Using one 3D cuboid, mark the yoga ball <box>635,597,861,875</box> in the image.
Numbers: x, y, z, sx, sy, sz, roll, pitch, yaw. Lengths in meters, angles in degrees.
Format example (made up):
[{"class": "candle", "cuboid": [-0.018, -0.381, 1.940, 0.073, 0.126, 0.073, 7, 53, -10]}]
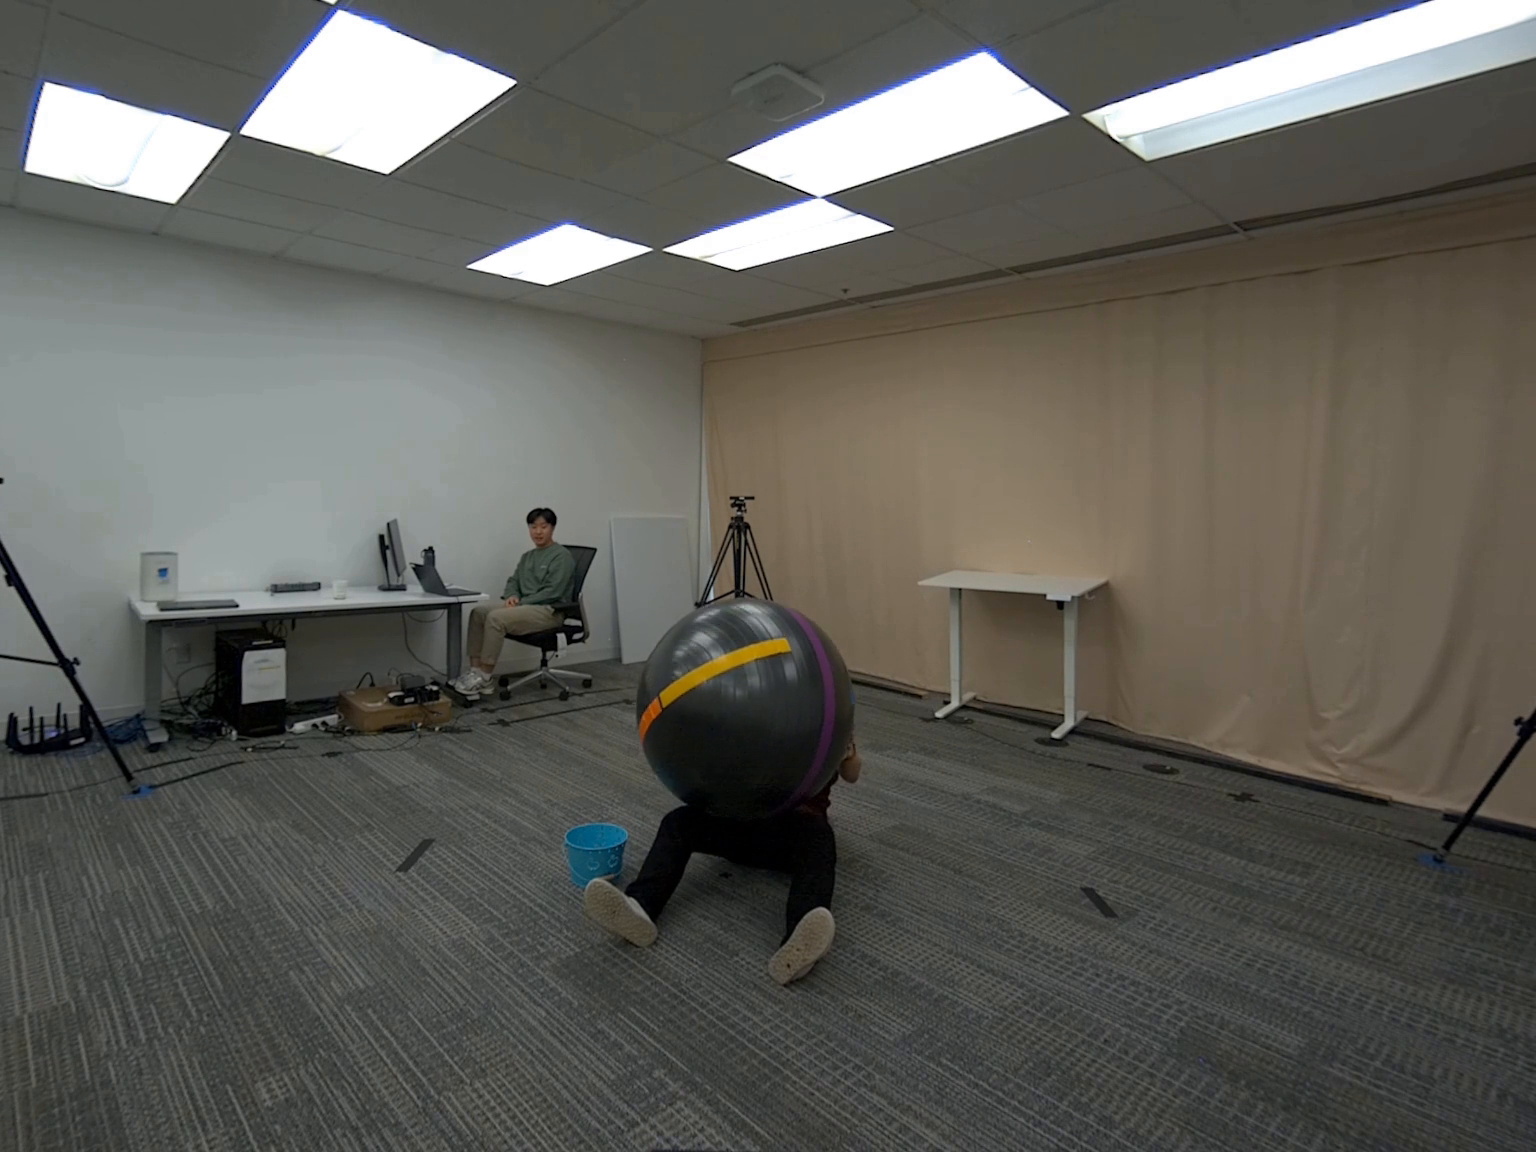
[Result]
[{"class": "yoga ball", "cuboid": [-0.084, 0.462, 2.931, 0.757, 0.756, 0.761, 1, 4, -1]}]
